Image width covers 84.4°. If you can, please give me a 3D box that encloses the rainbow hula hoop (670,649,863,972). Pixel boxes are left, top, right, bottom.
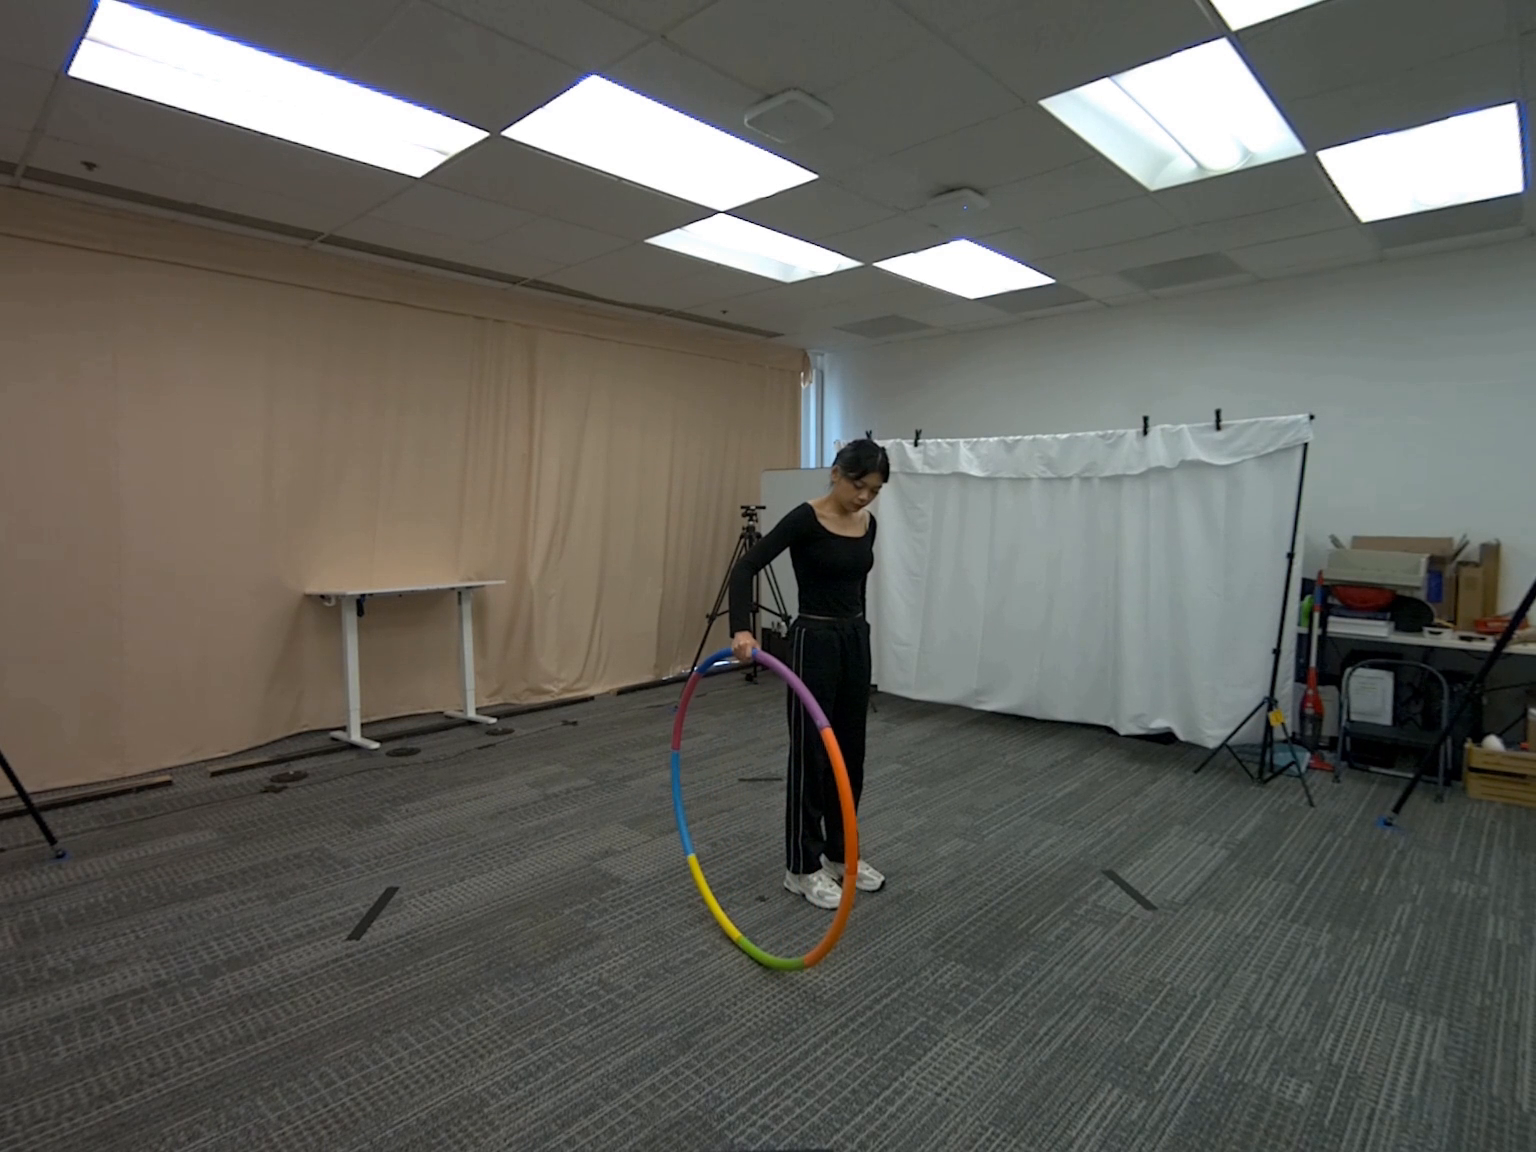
[{"bbox_3d":[-0.051,0.695,2.619,0.034,0.977,1.008,0,3,-33],"label":"rainbow hula hoop"}]
